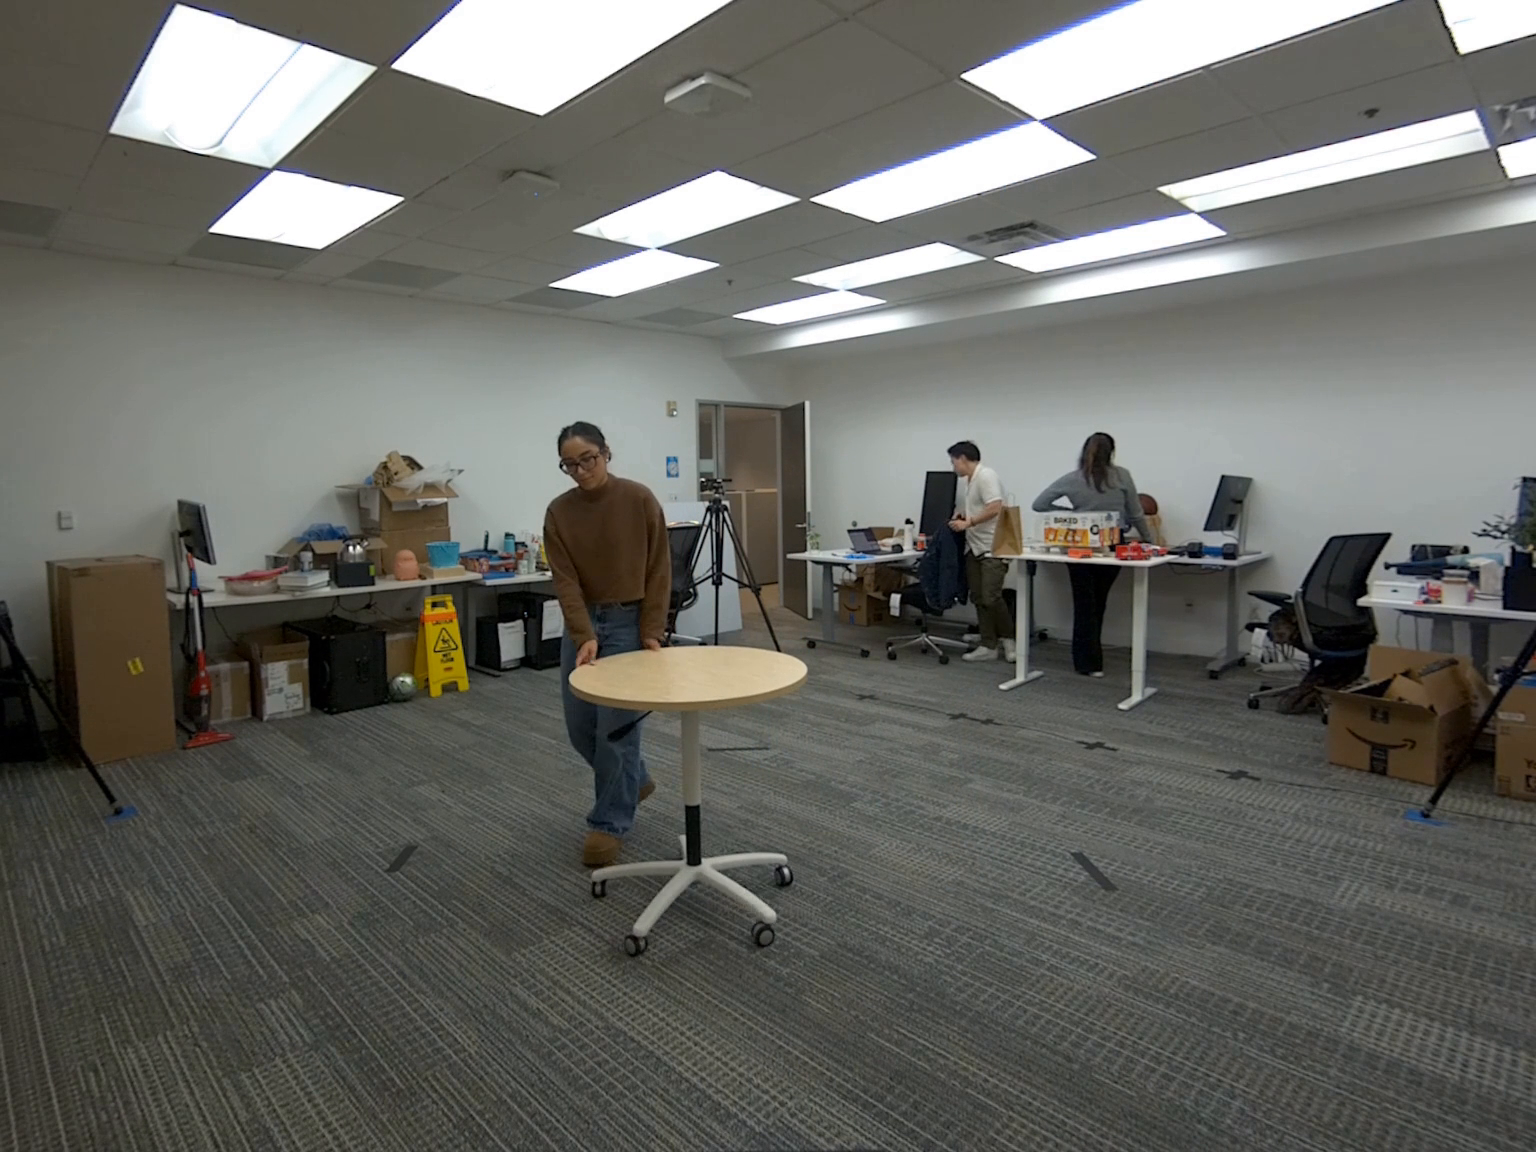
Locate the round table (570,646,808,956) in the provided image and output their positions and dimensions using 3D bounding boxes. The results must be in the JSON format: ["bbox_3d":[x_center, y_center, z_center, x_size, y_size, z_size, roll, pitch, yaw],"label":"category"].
[{"bbox_3d":[-0.254,0.692,2.780,0.784,0.783,0.789,-2,5,-2],"label":"round table"}]
